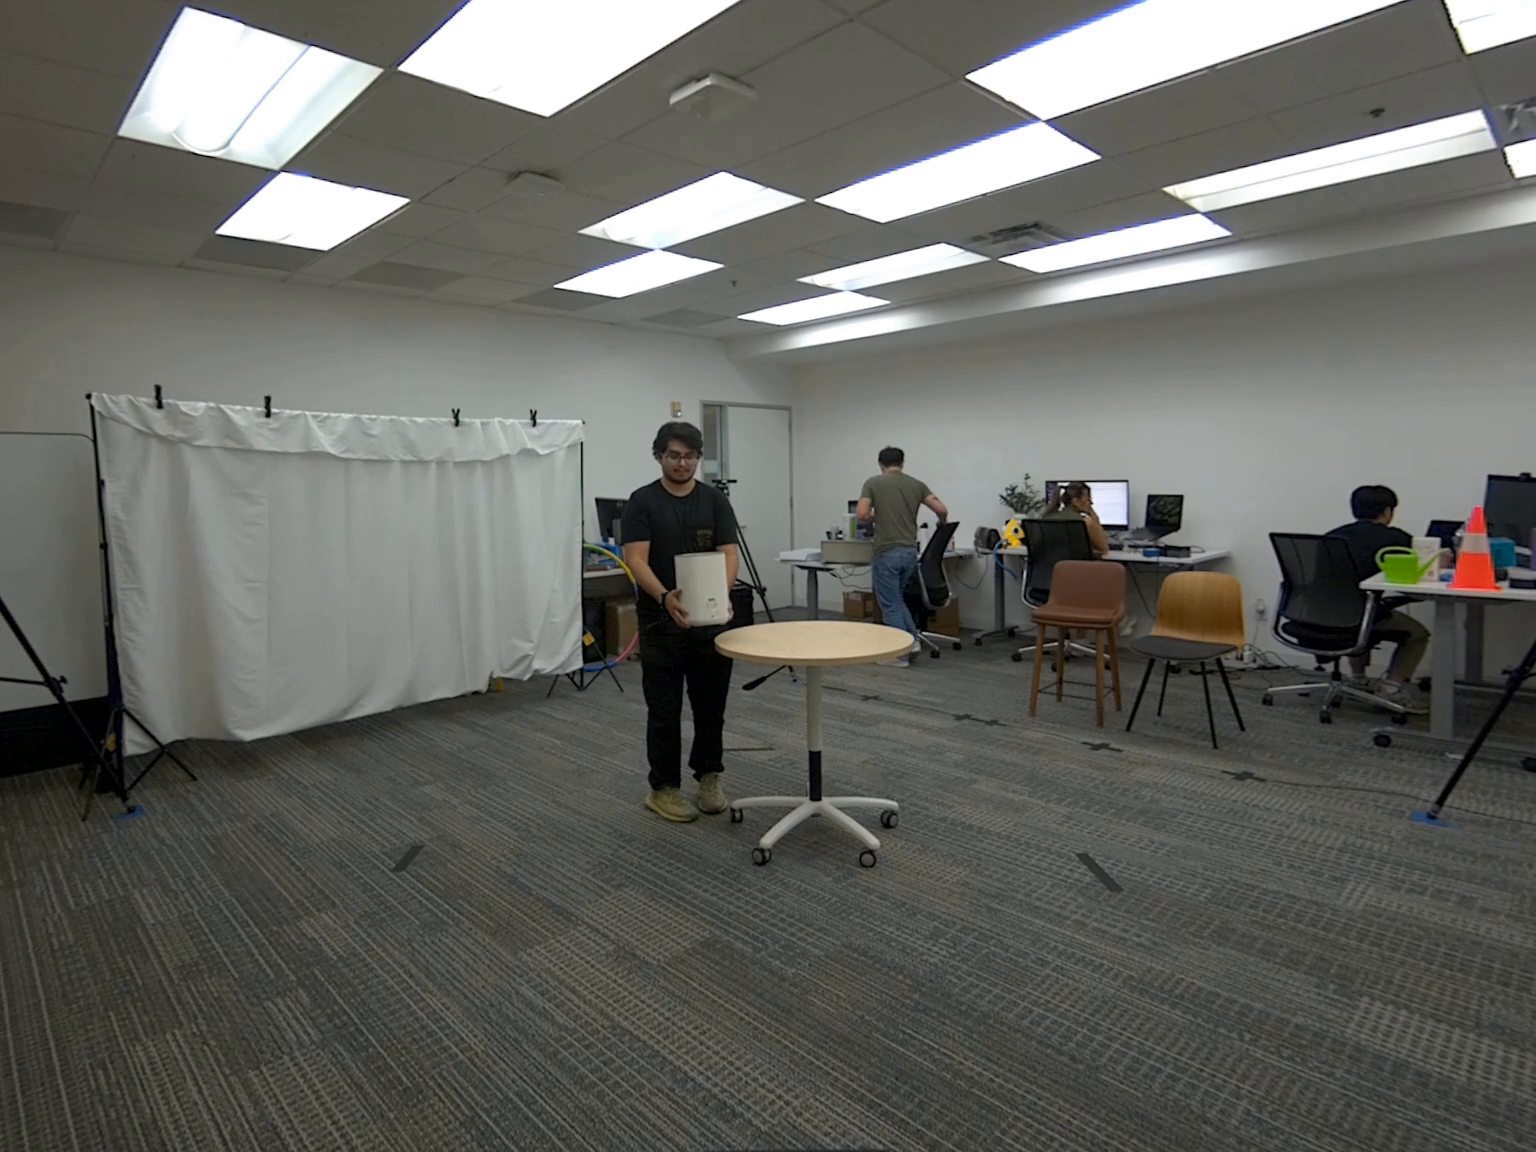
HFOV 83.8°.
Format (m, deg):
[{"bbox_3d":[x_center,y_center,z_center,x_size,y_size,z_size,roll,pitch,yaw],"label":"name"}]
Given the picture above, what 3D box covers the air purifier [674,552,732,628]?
[{"bbox_3d":[-0.242,0.050,3.239,0.167,0.265,0.175,-5,1,-26],"label":"air purifier"}]
